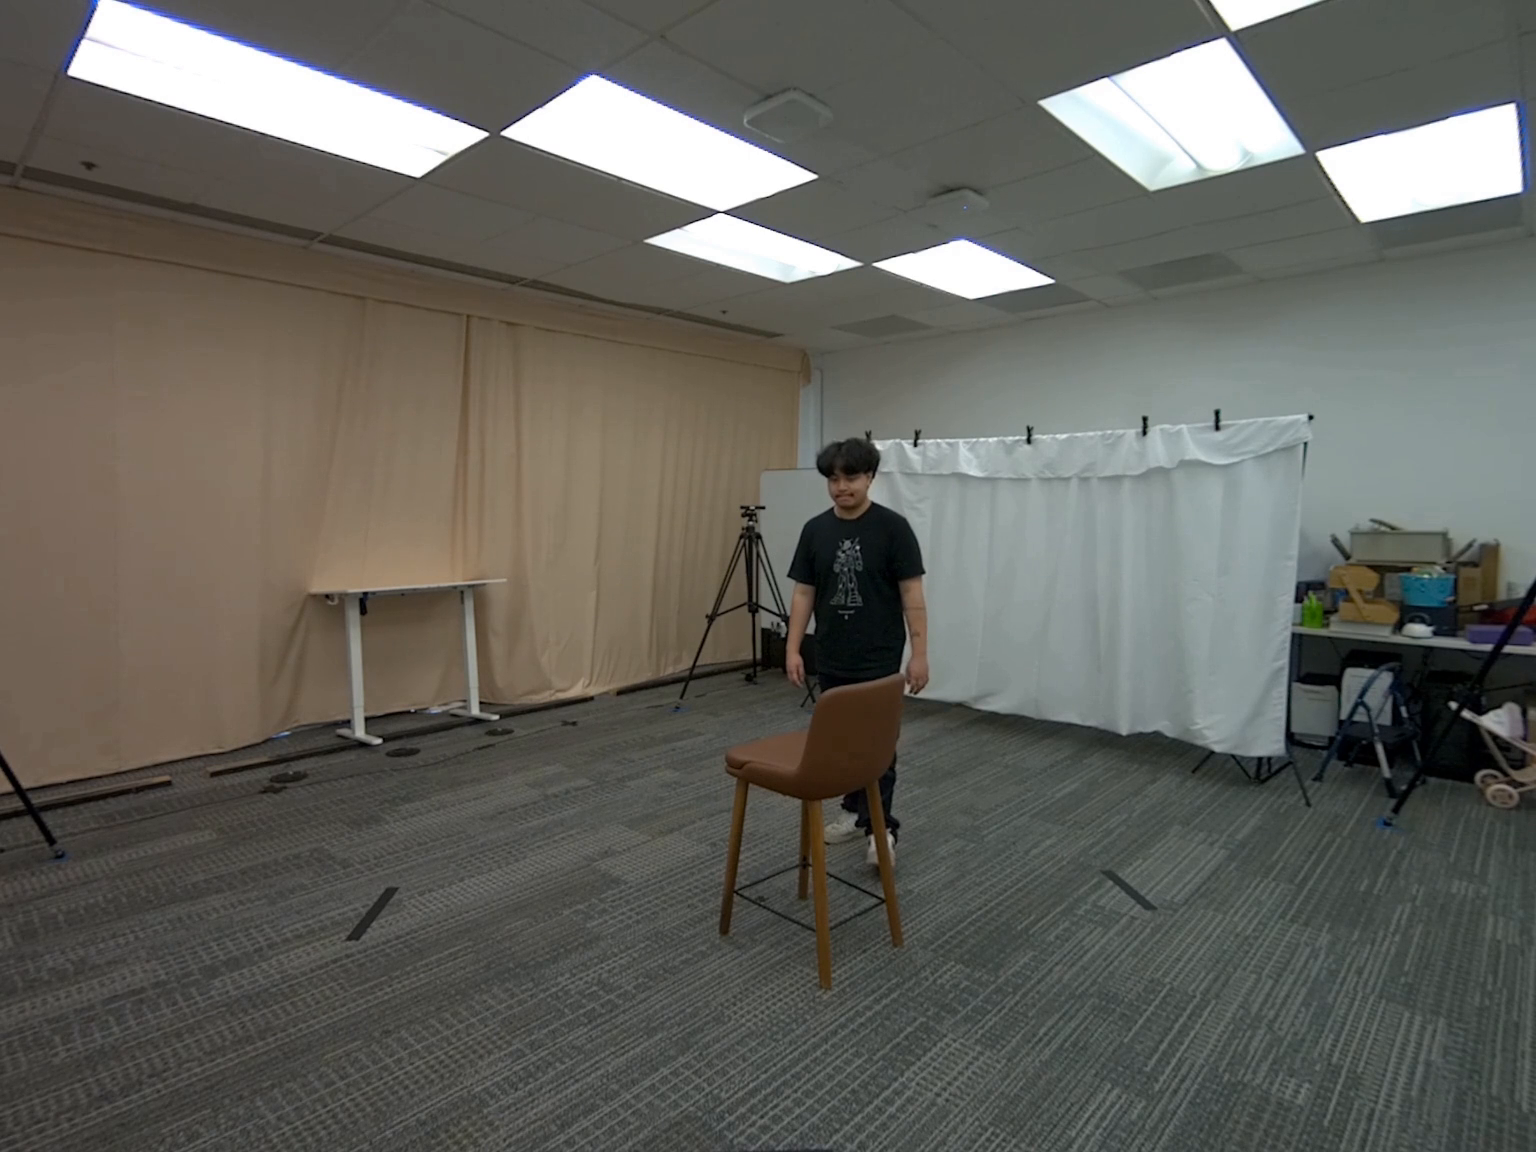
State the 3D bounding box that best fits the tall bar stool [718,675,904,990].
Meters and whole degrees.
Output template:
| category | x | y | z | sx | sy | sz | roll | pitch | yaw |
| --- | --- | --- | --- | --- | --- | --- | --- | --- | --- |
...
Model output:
| category | x | y | z | sx | sy | sz | roll | pitch | yaw |
| --- | --- | --- | --- | --- | --- | --- | --- | --- | --- |
| tall bar stool | 0.146 | 0.734 | 2.677 | 0.442 | 0.887 | 0.484 | -3 | 7 | -43 |
